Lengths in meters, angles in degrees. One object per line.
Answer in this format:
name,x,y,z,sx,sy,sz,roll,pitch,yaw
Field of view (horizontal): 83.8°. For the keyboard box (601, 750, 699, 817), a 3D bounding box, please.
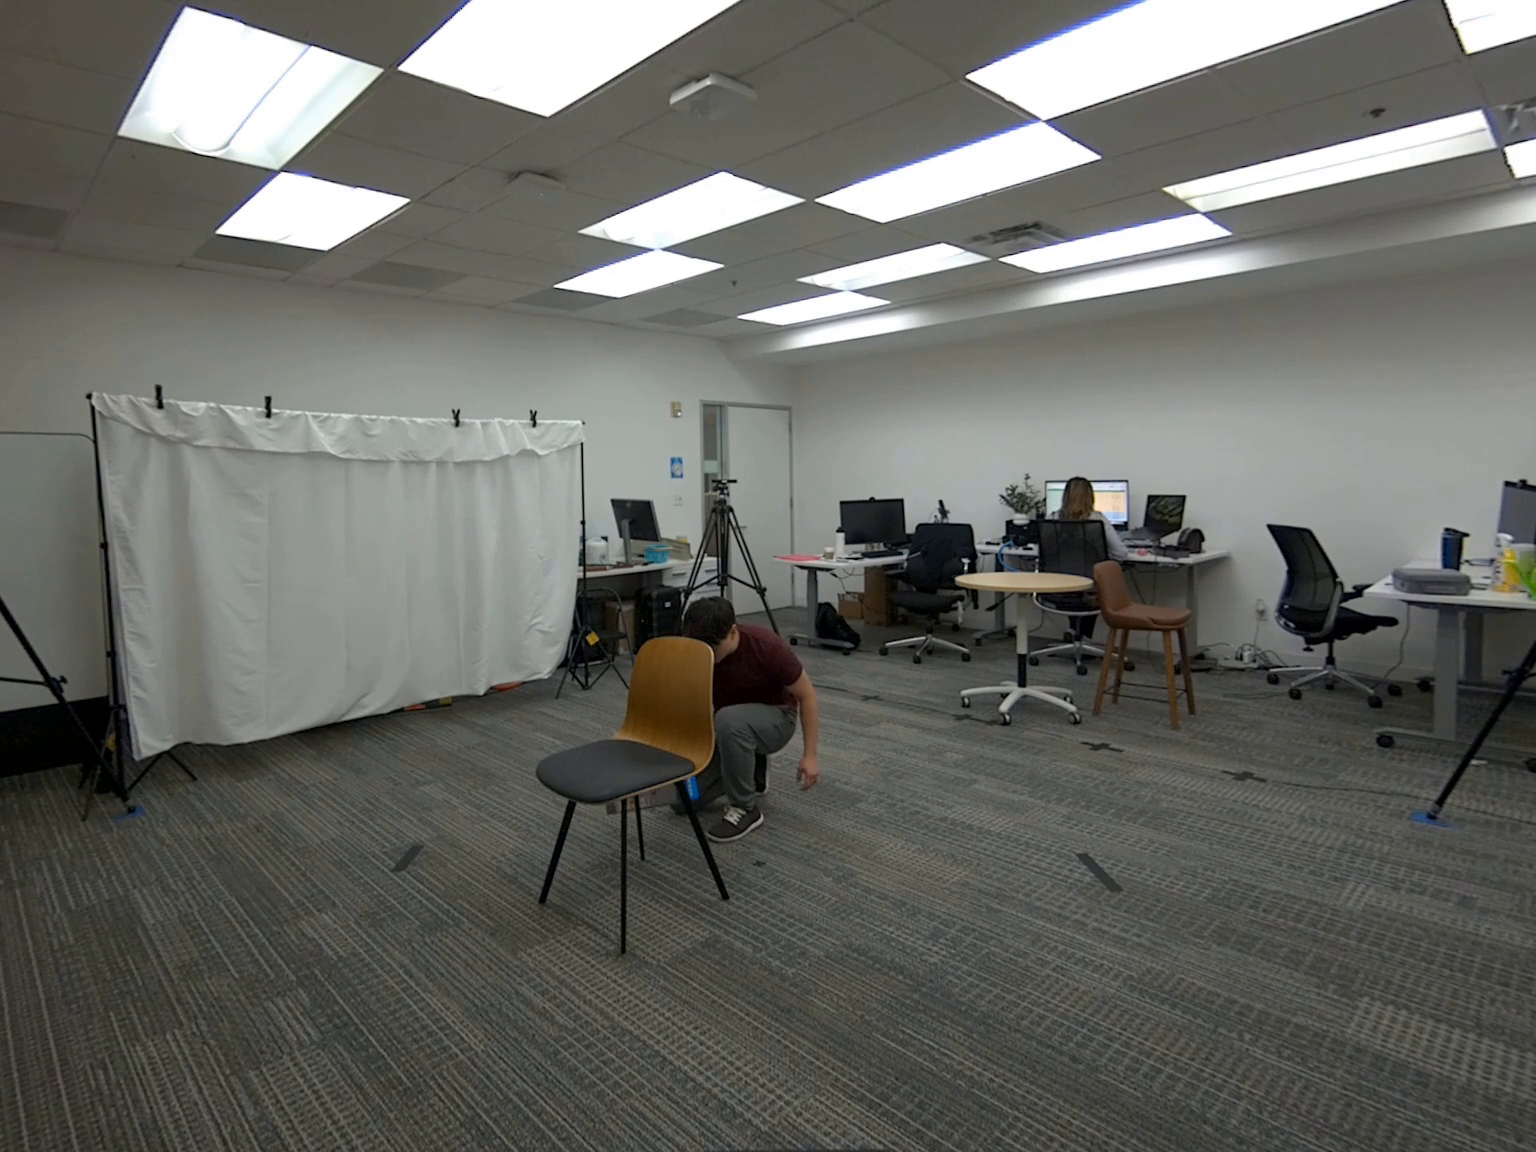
keyboard box,-0.446,0.779,3.211,0.444,0.178,0.057,-21,-16,36
